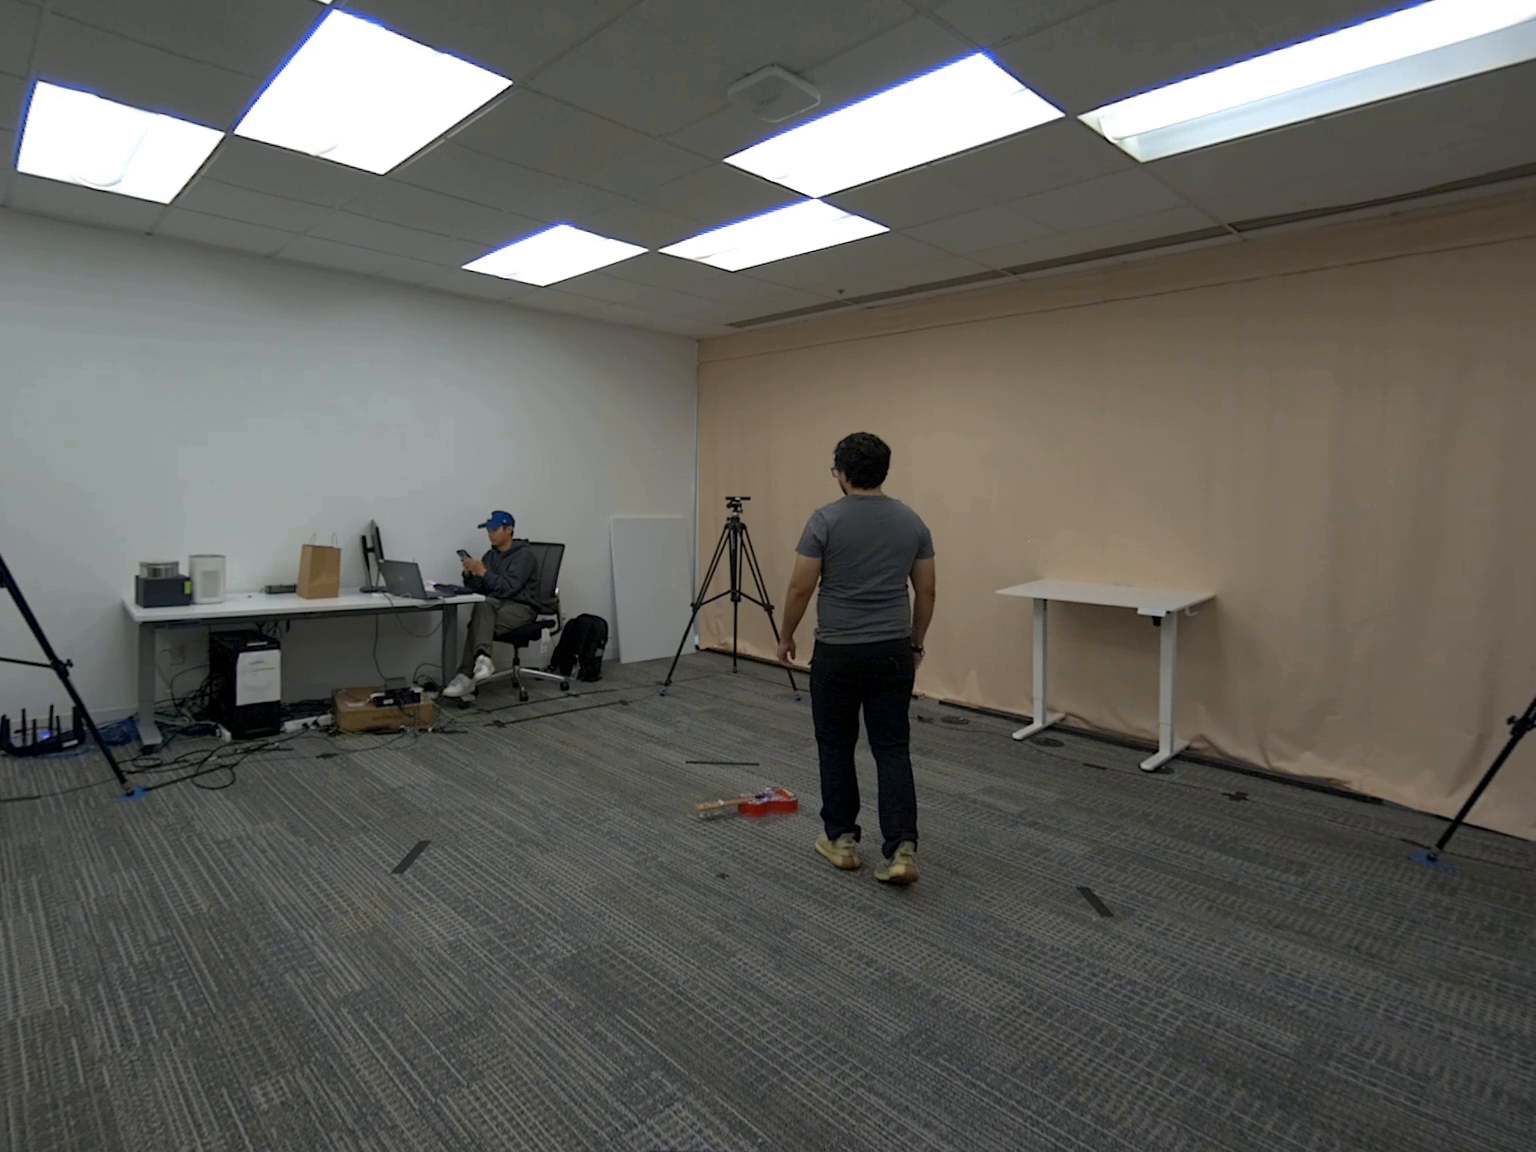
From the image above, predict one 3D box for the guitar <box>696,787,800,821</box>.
[{"bbox_3d":[-0.122,1.016,3.769,0.490,0.070,0.197,0,6,-22],"label":"guitar"}]
